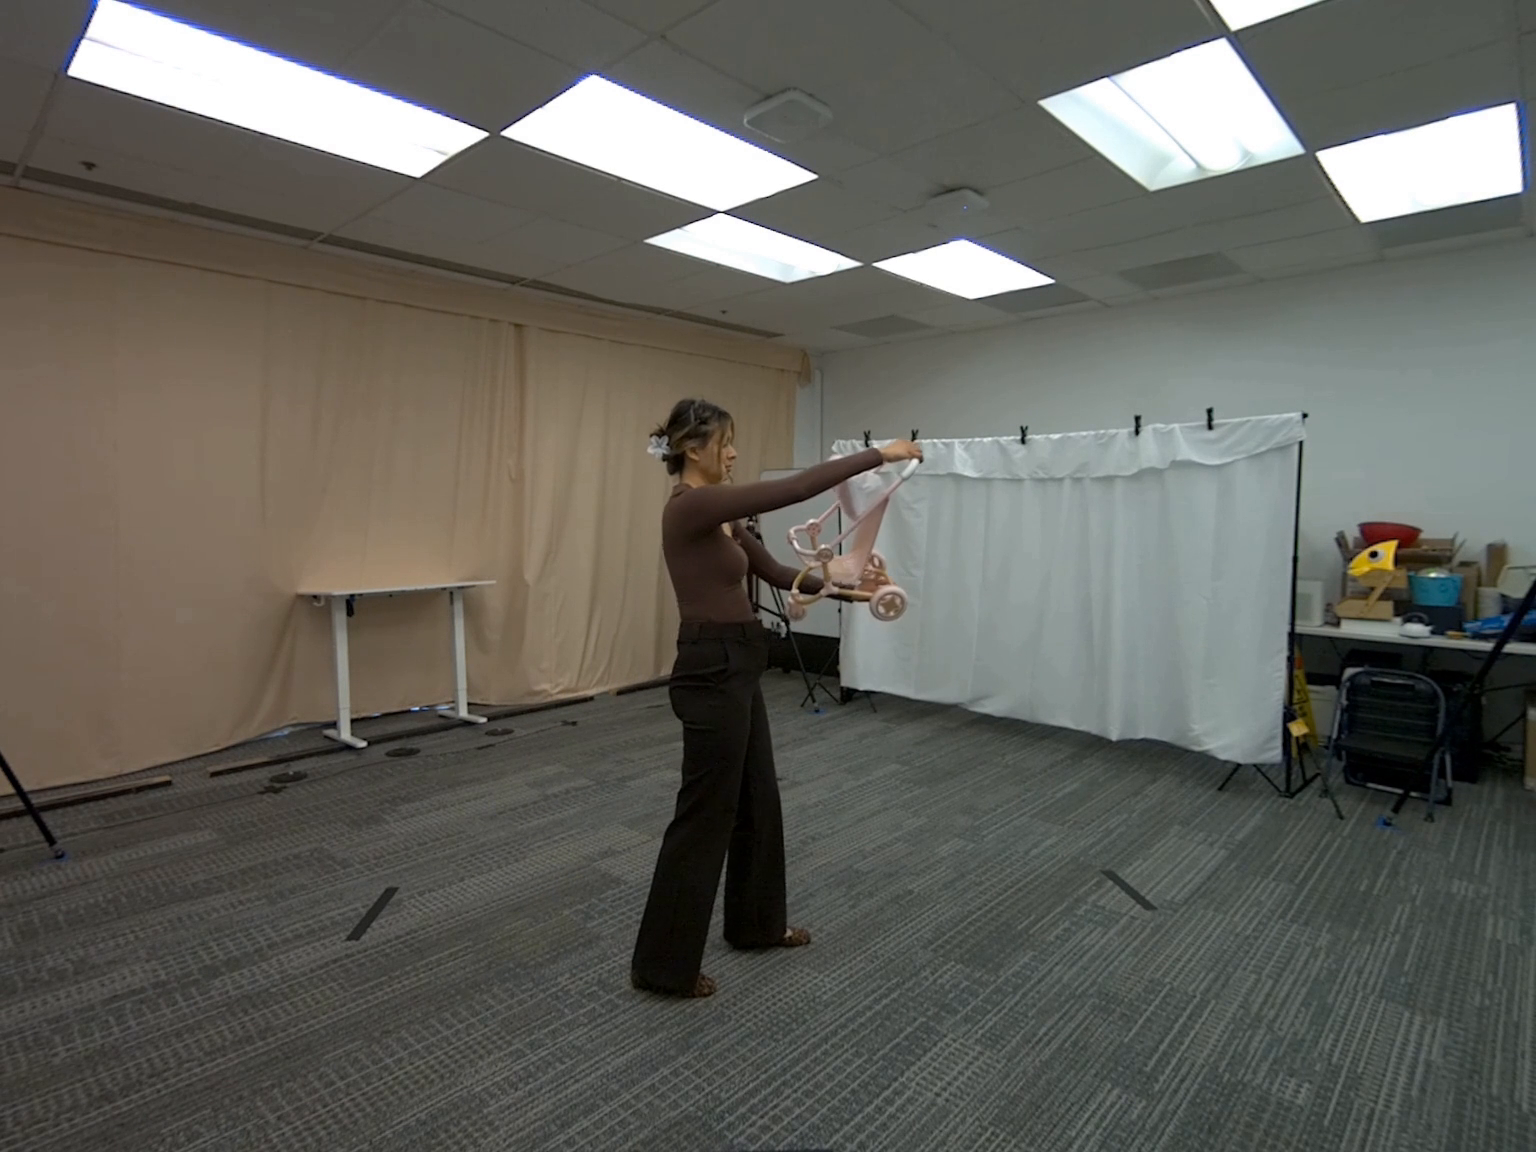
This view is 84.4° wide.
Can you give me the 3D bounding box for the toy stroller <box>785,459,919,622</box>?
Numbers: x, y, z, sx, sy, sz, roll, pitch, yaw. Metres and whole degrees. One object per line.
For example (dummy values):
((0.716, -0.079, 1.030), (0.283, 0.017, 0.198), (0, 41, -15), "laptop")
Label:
((0.232, -0.109, 2.397), (0.341, 0.528, 0.285), (2, 24, -2), "toy stroller")
